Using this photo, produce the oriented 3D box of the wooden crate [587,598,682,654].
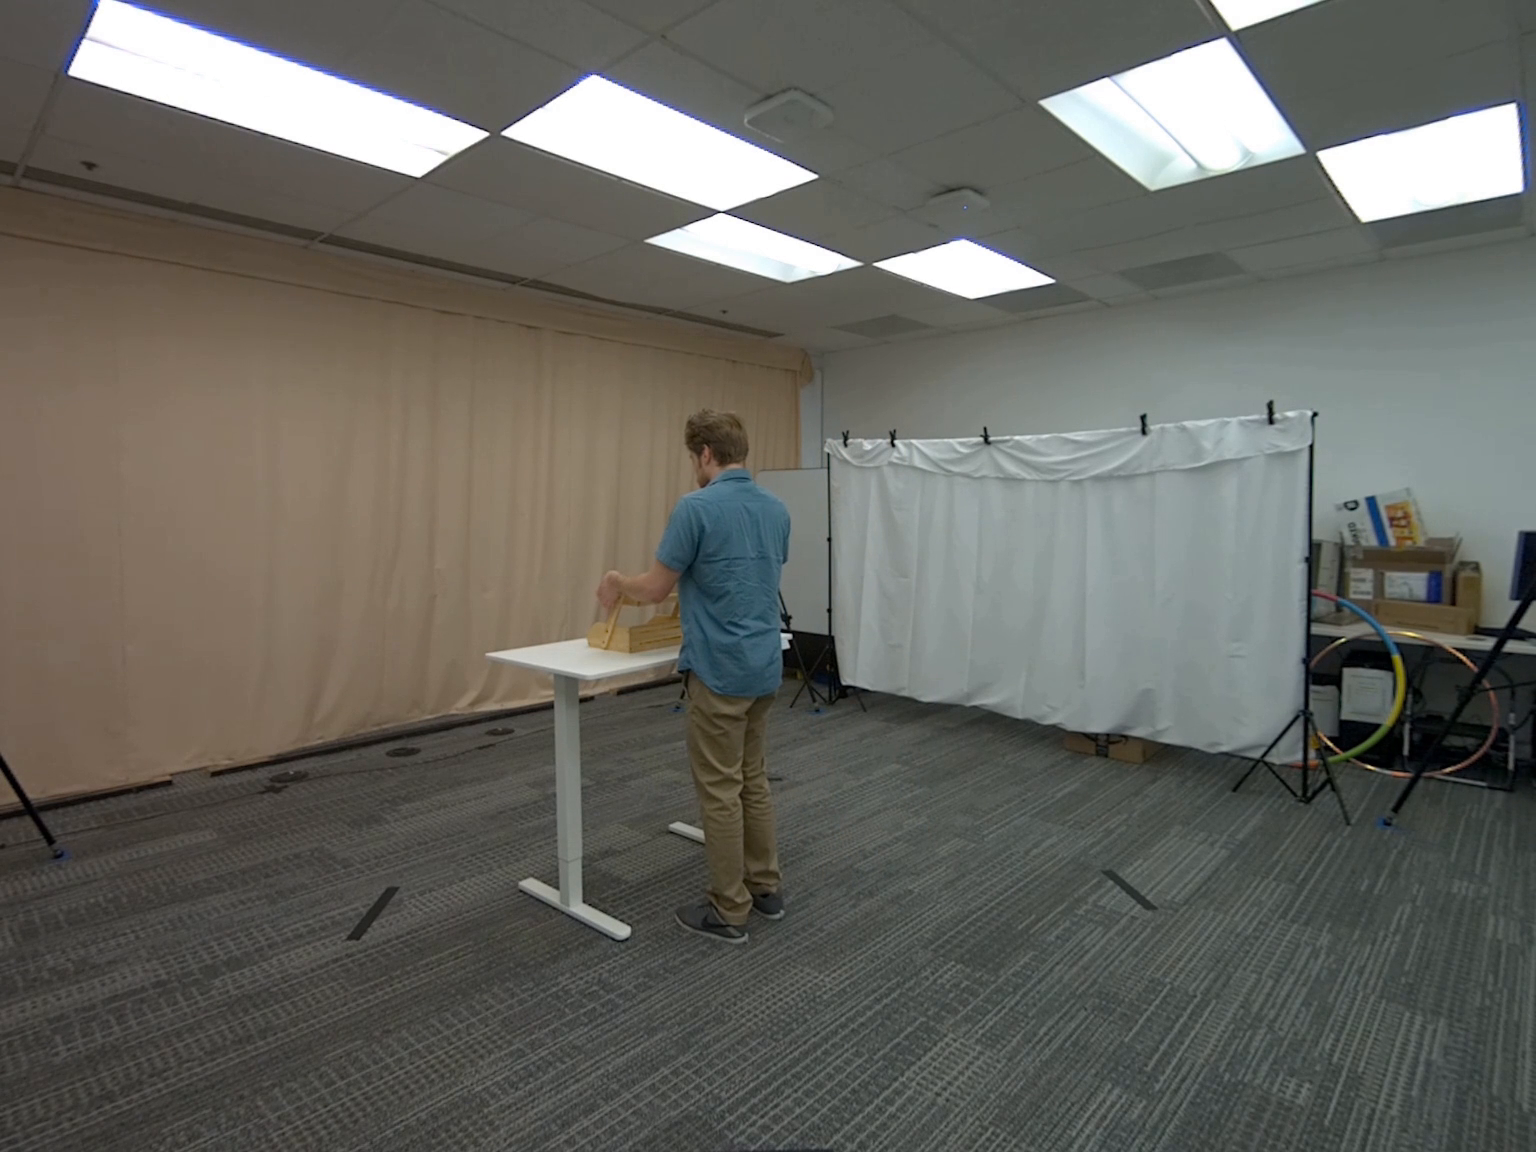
[{"bbox_3d":[-0.463,0.123,3.099,0.312,0.272,0.315,4,7,42],"label":"wooden crate"}]
